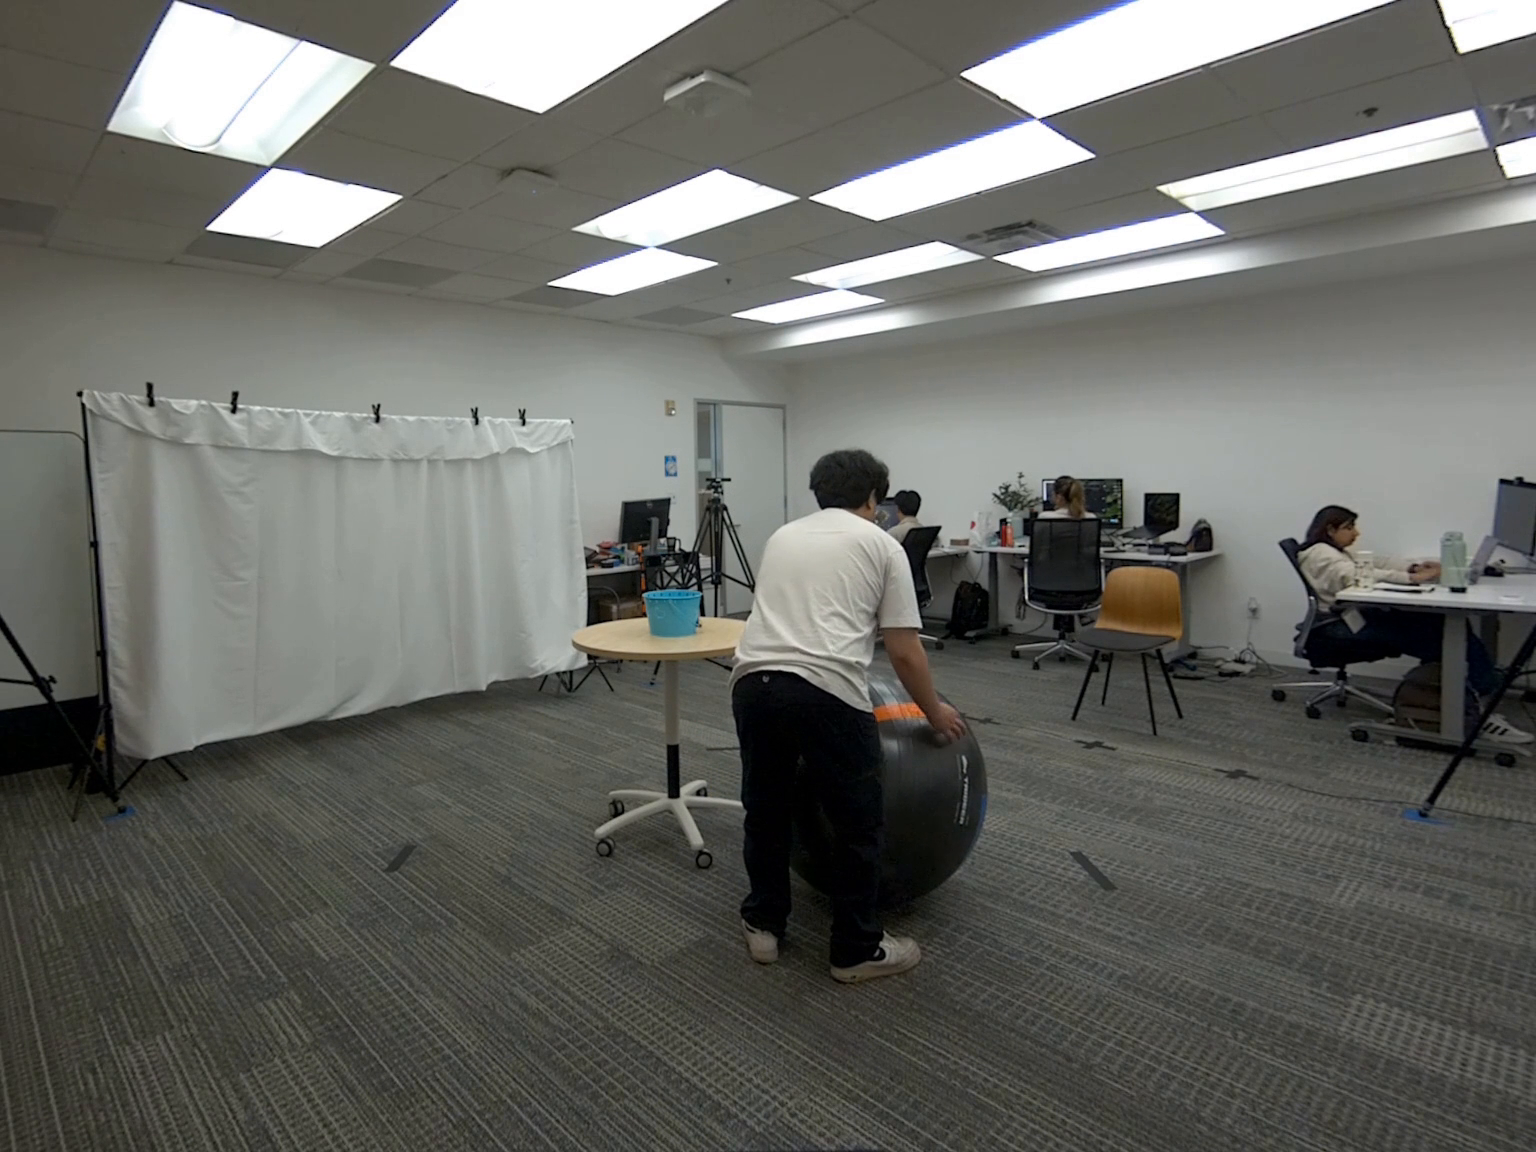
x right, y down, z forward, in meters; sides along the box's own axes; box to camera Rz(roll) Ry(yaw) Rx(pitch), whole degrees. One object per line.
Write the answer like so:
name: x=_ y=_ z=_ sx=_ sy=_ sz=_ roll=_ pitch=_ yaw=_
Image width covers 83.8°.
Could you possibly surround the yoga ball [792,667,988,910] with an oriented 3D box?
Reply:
yoga ball: x=0.347 y=0.699 z=2.857 sx=0.757 sy=0.755 sz=0.762 roll=-1 pitch=5 yaw=-2
